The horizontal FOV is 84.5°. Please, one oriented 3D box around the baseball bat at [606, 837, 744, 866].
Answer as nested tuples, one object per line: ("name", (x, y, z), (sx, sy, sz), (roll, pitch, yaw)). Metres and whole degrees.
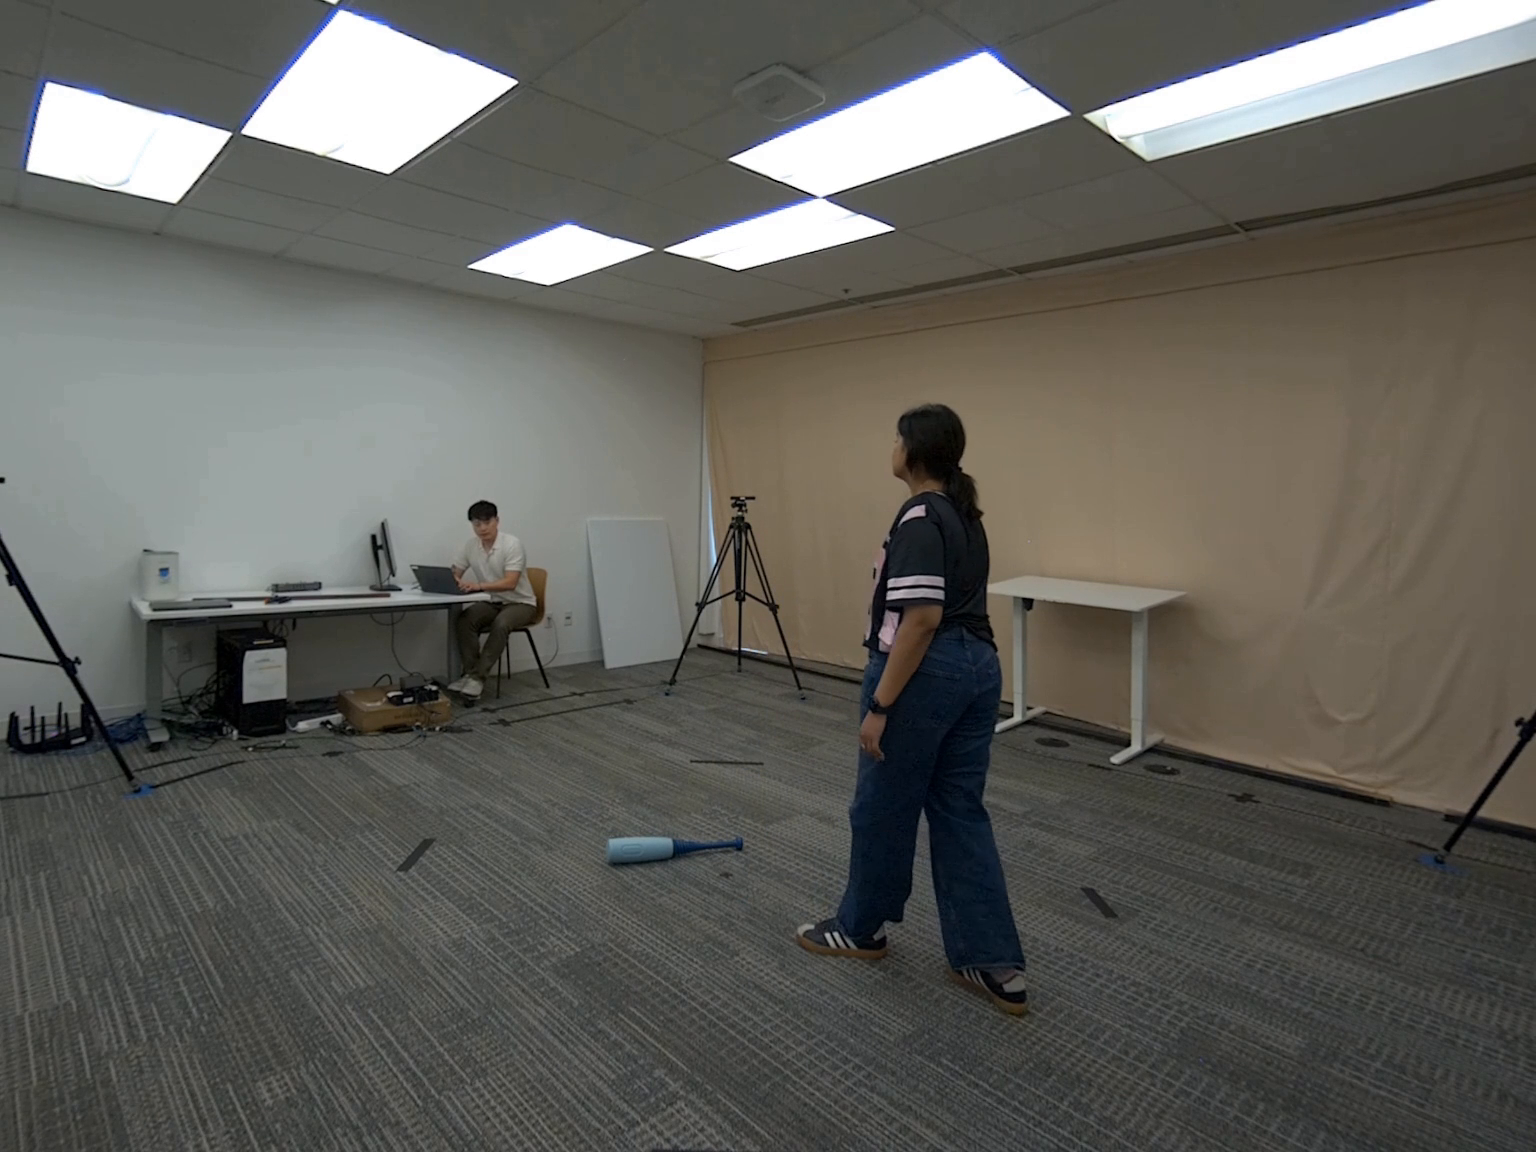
("baseball bat", (-0.362, 1.053, 3.248), (0.535, 0.089, 0.090), (4, 3, -19))
